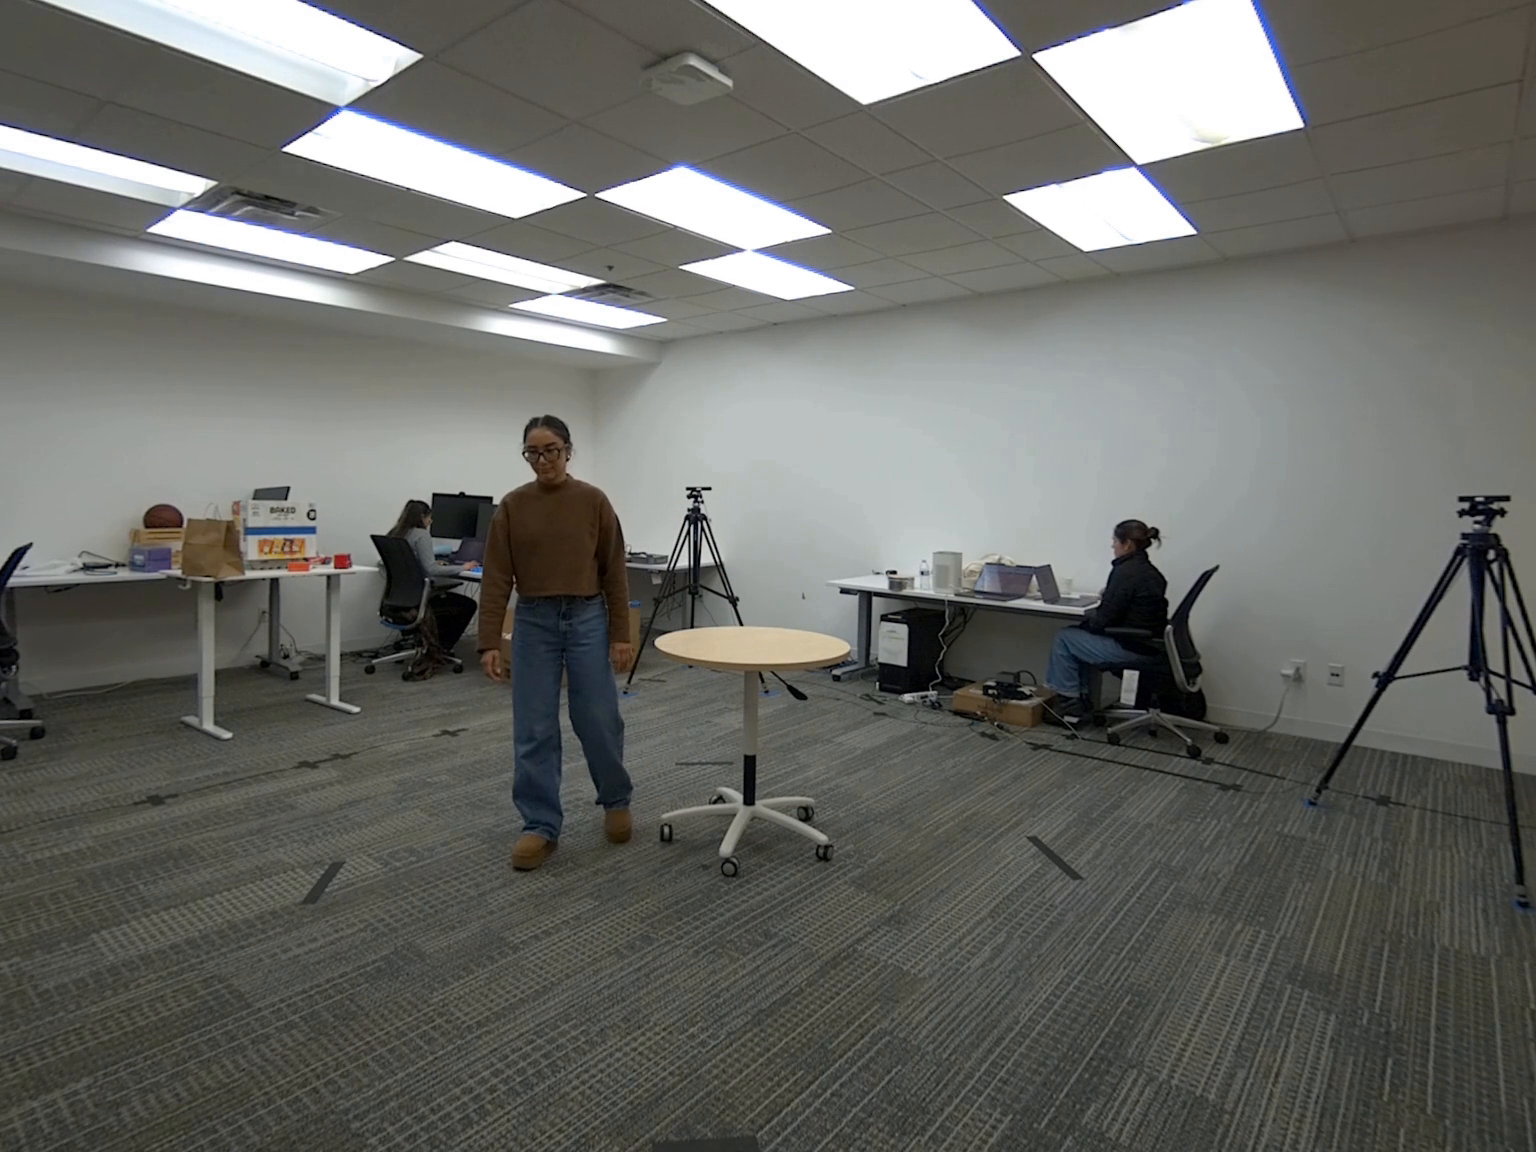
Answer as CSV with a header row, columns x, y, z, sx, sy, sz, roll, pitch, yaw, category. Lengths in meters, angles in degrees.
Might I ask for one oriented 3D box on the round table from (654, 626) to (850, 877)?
x,y,z,sx,sy,sz,roll,pitch,yaw,category
-0.083,0.656,3.363,0.763,0.791,0.768,1,4,-2,round table
